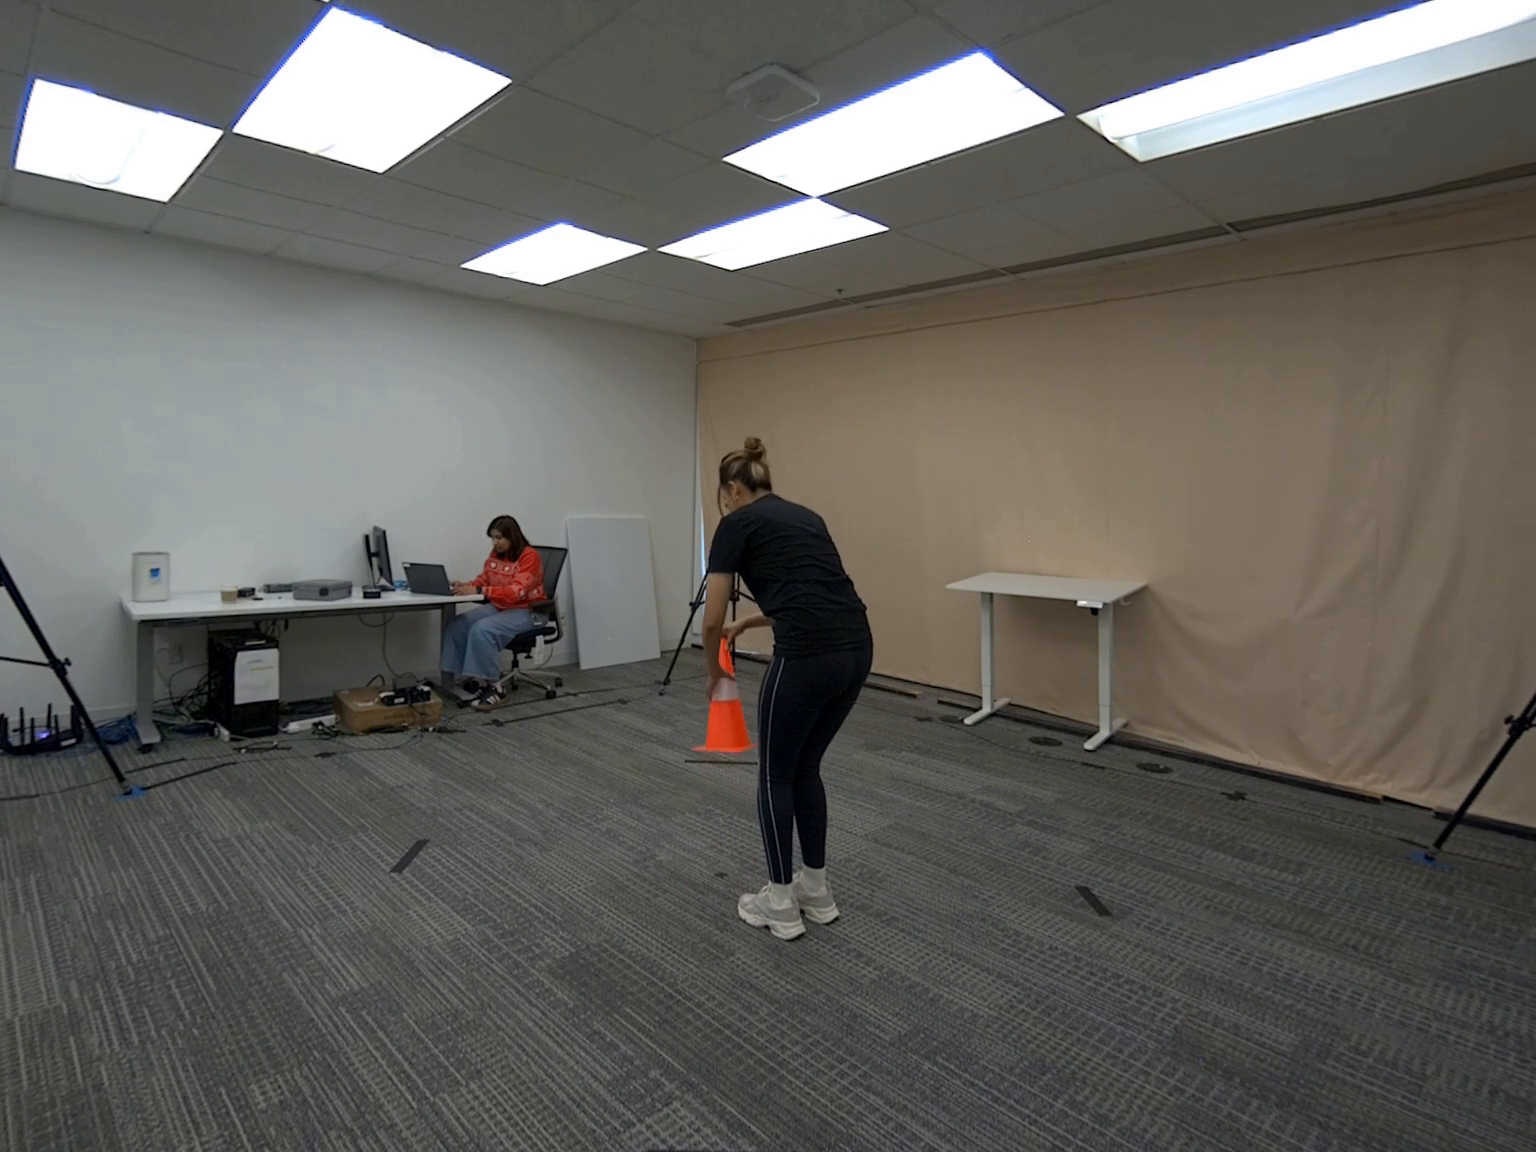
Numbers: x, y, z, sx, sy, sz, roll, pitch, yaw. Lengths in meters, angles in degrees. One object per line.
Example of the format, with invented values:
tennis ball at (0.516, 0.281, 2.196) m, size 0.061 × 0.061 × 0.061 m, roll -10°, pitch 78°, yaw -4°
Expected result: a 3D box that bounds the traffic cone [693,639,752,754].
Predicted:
traffic cone at (-0.163, 0.433, 3.016) m, size 0.209 × 0.385 × 0.199 m, roll -6°, pitch -6°, yaw 28°
